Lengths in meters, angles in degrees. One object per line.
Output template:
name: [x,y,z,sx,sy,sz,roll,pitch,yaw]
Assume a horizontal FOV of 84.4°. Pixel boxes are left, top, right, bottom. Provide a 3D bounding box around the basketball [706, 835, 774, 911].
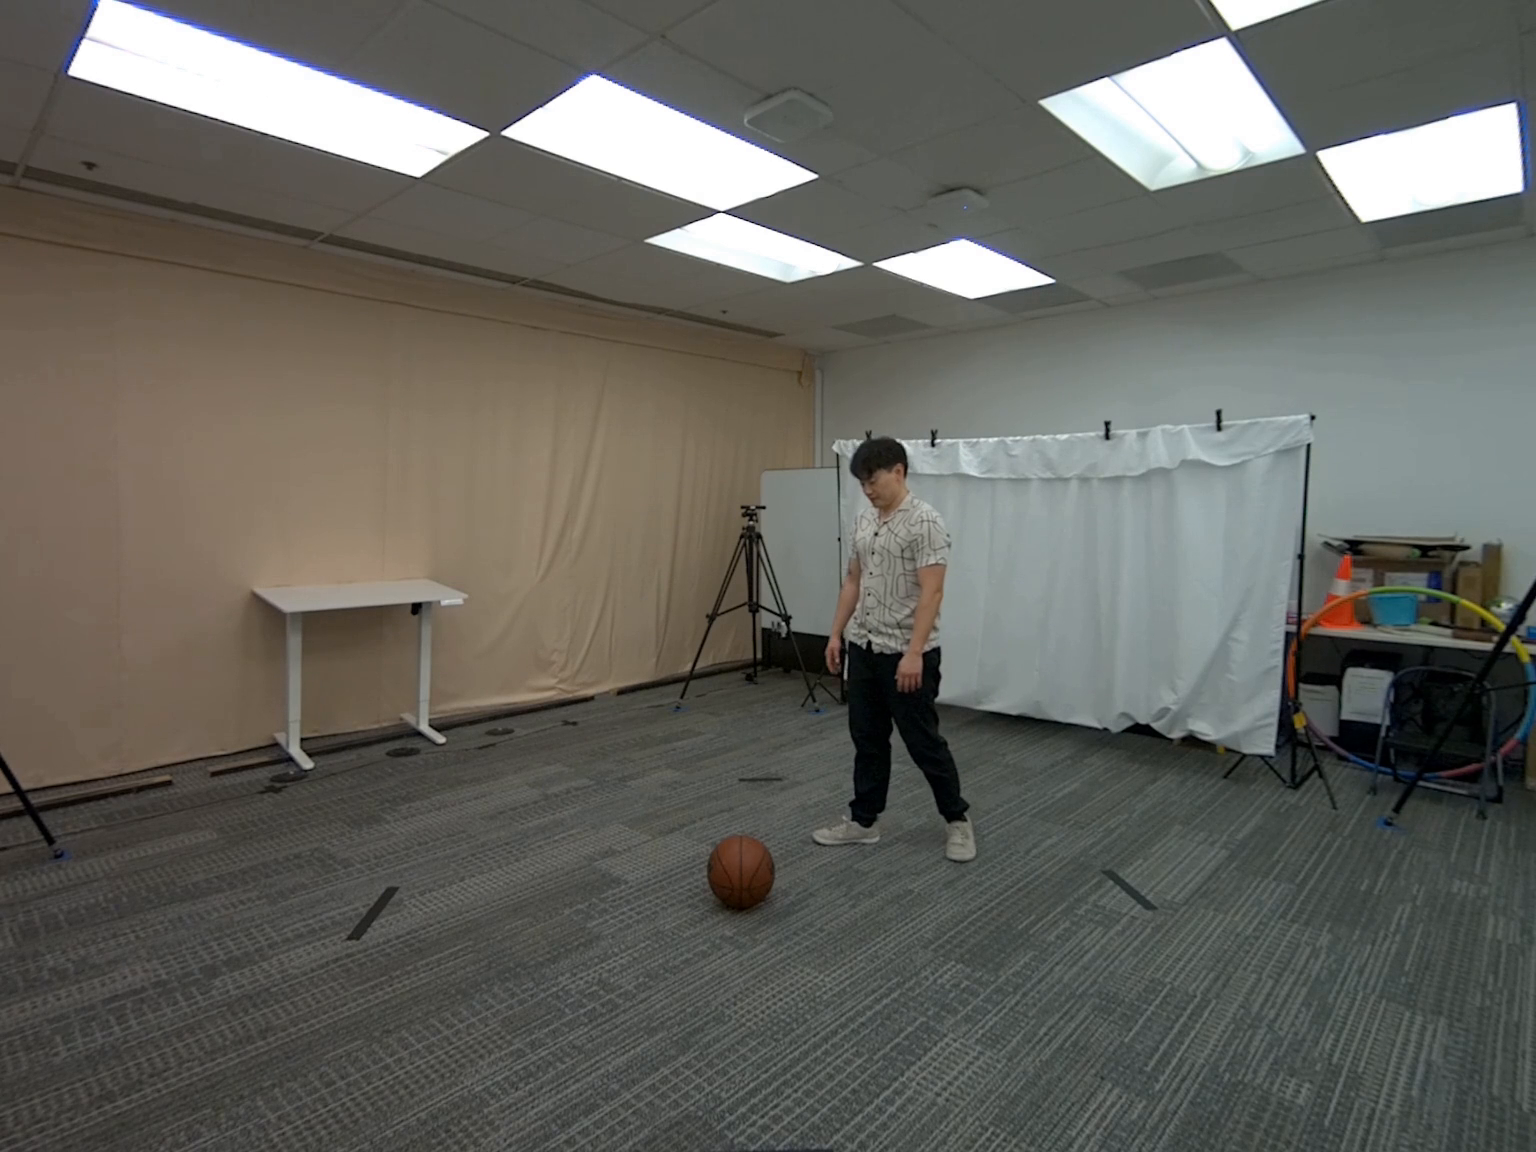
basketball: [-0.092,1.024,2.936,0.236,0.235,0.237,0,4,-2]
